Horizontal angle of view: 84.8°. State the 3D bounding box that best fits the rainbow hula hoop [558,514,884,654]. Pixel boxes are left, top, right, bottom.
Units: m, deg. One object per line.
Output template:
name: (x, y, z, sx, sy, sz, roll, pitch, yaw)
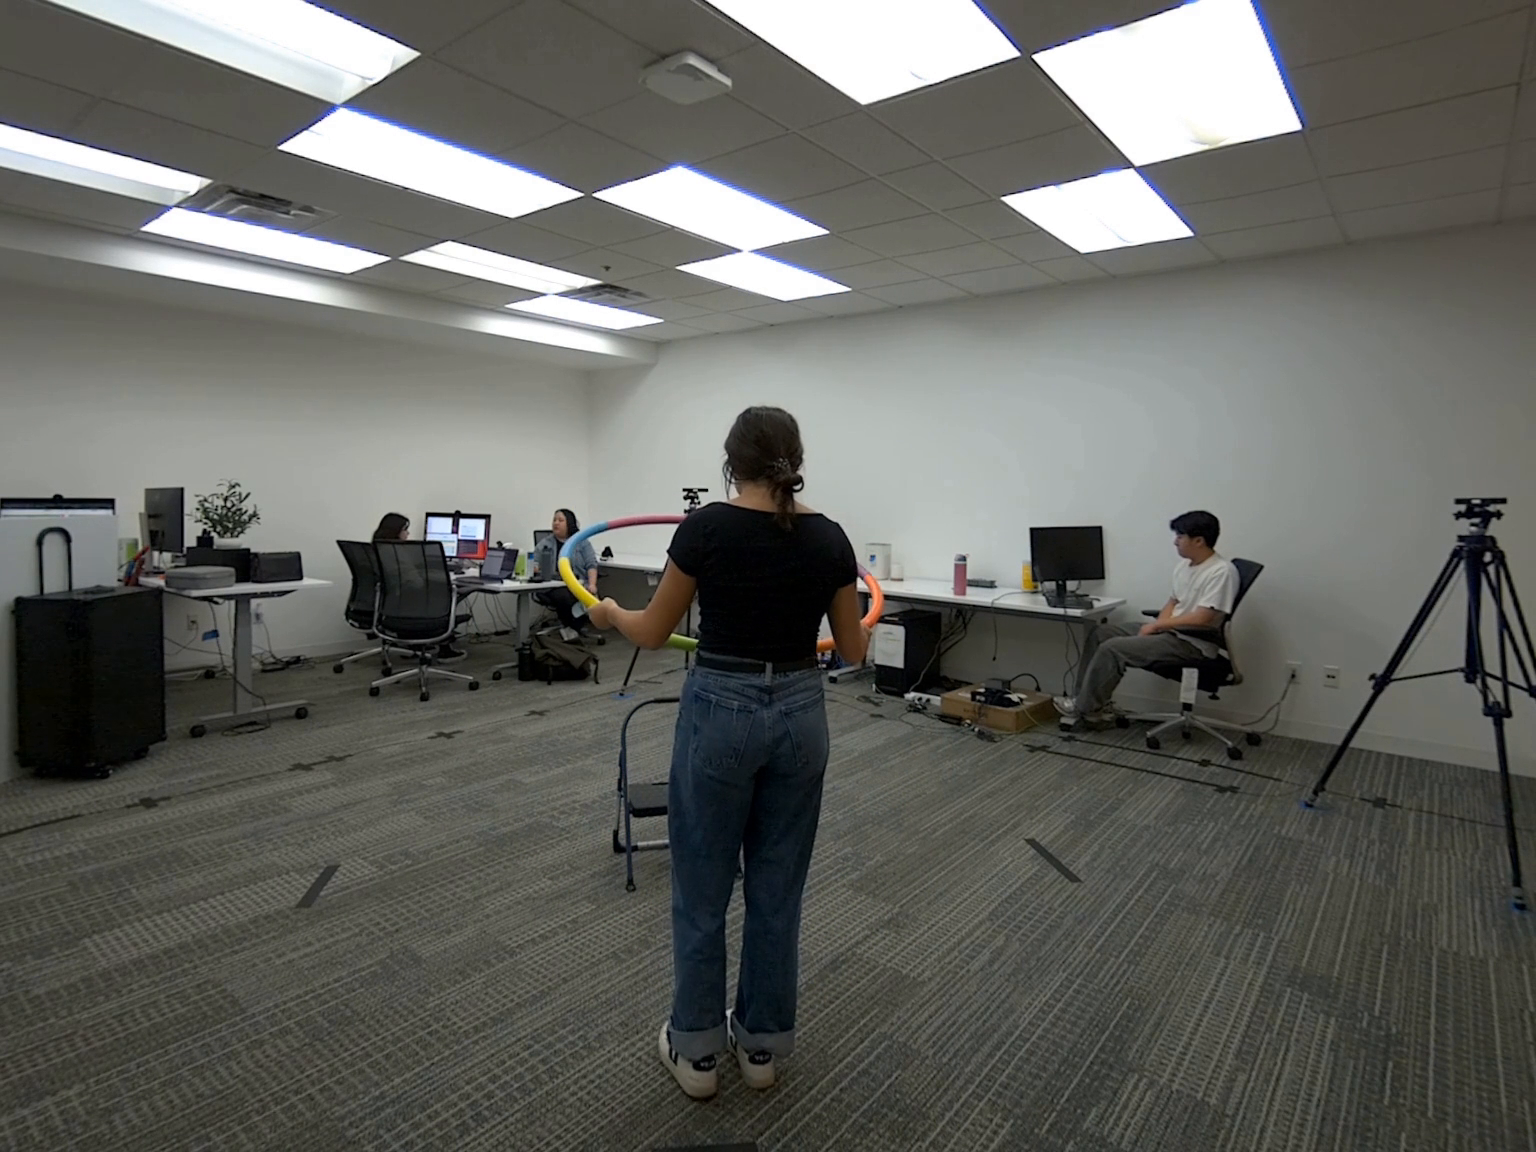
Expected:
rainbow hula hoop: (-0.134, -0.009, 2.584, 0.975, 0.035, 0.999, 7, 22, -4)
